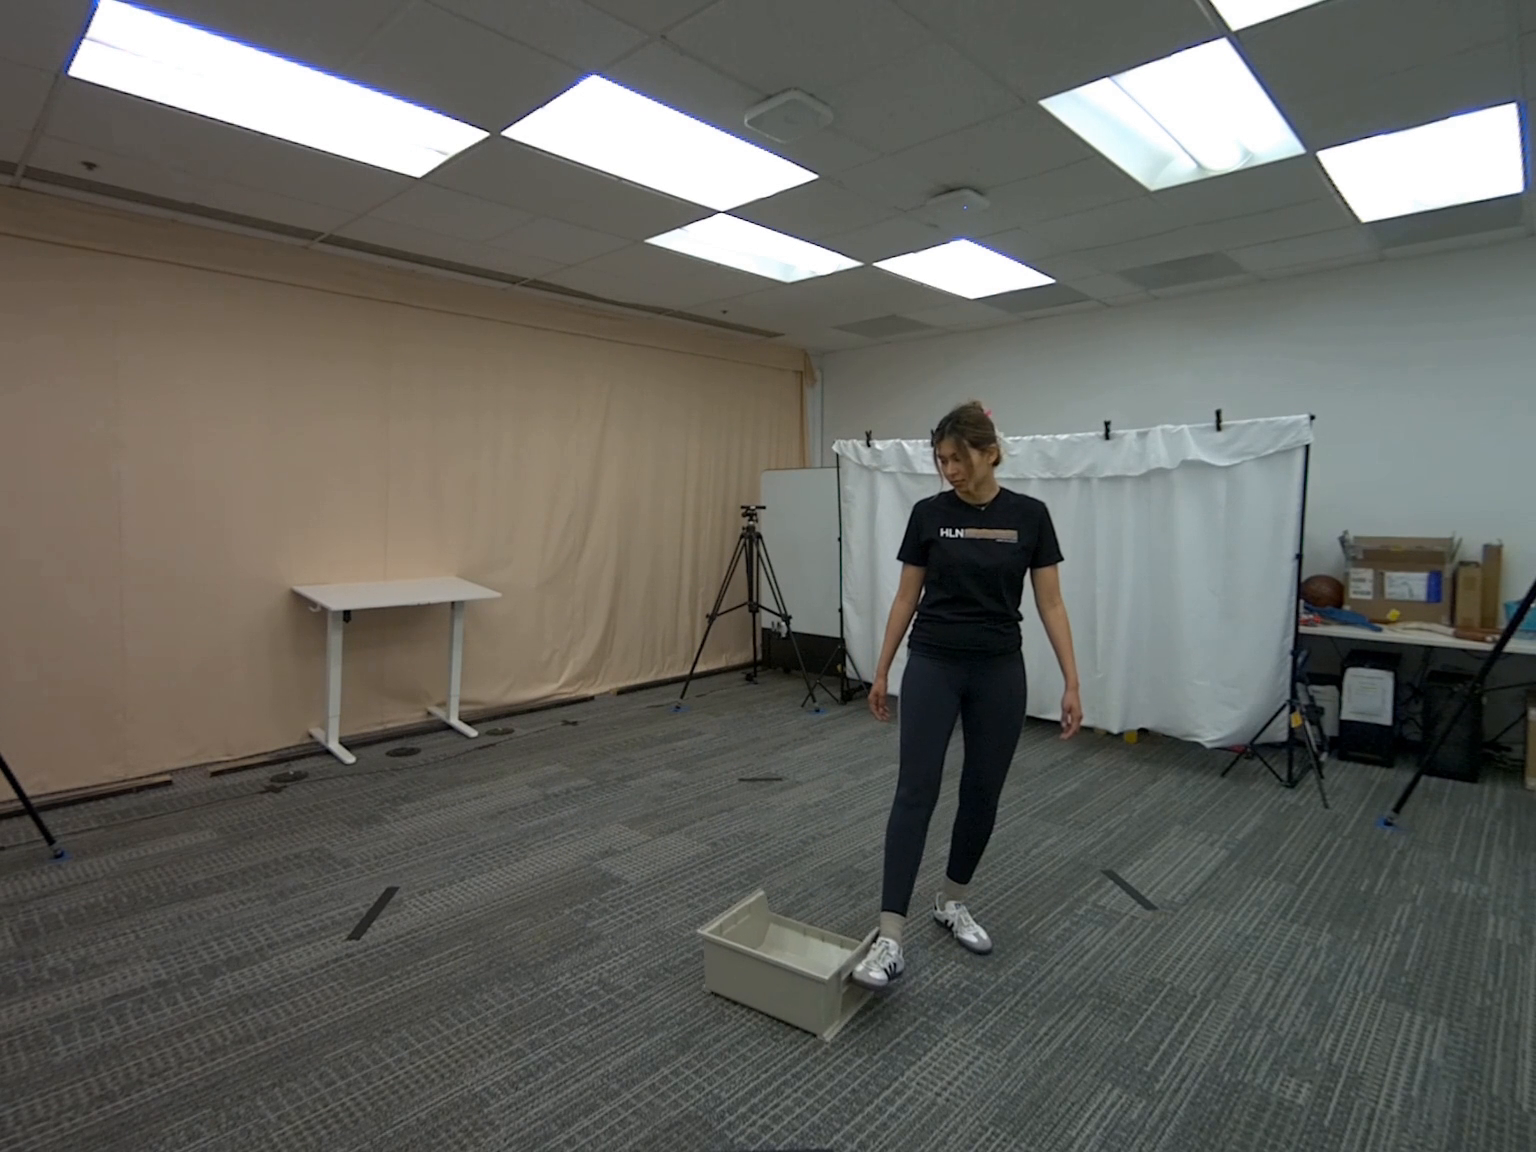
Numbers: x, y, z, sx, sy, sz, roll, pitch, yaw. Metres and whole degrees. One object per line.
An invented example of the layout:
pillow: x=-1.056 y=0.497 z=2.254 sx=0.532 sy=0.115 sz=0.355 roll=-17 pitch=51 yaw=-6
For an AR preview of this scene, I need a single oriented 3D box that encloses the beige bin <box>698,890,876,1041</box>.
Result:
beige bin: x=0.081 y=1.100 z=2.438 sx=0.435 sy=0.188 sz=0.367 roll=4 pitch=7 yaw=34
